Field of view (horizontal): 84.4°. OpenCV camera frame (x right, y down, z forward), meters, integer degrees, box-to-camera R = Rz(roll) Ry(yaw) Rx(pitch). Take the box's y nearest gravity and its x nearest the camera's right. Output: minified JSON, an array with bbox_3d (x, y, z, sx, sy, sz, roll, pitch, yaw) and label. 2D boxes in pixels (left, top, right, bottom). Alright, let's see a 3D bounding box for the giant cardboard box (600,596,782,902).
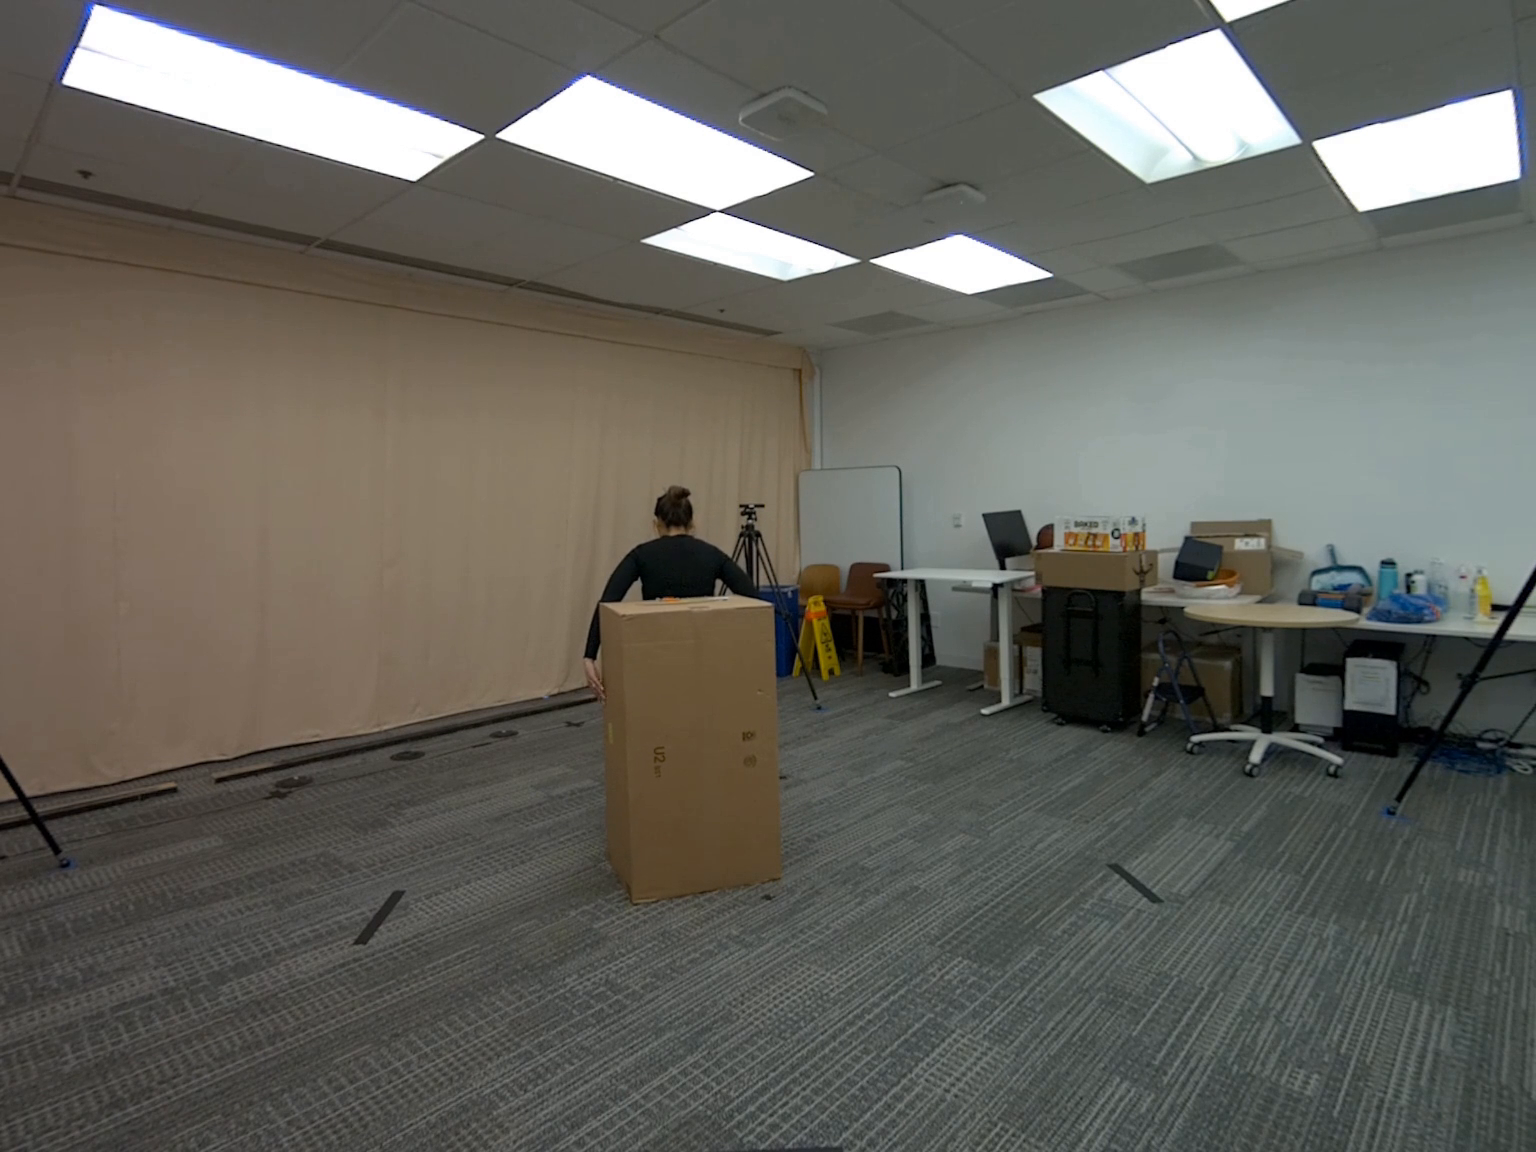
[{"bbox_3d":[-0.299,0.615,3.211,0.566,1.024,0.436,-3,3,-21],"label":"giant cardboard box"}]
